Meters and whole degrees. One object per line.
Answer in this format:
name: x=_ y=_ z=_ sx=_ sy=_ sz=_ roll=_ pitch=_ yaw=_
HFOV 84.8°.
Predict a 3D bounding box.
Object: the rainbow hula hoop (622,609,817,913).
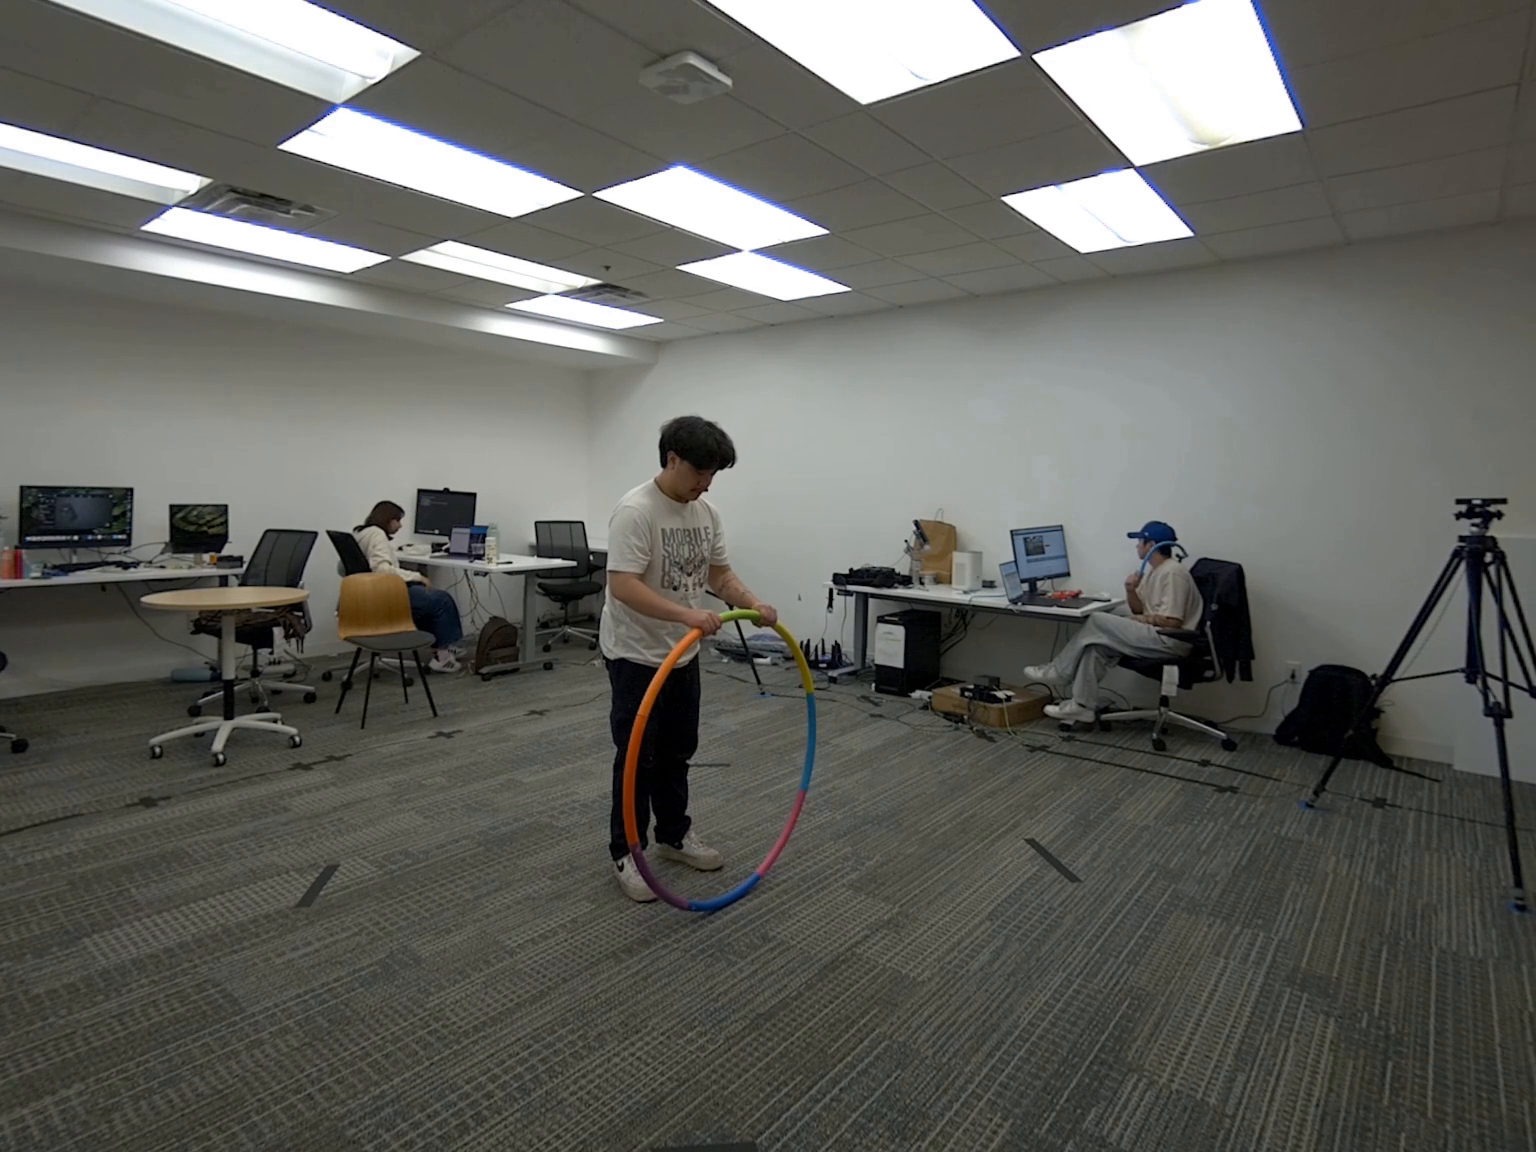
rainbow hula hoop: x=-0.129 y=0.607 z=2.842 sx=0.053 sy=0.983 sz=0.956 roll=2 pitch=4 yaw=39
